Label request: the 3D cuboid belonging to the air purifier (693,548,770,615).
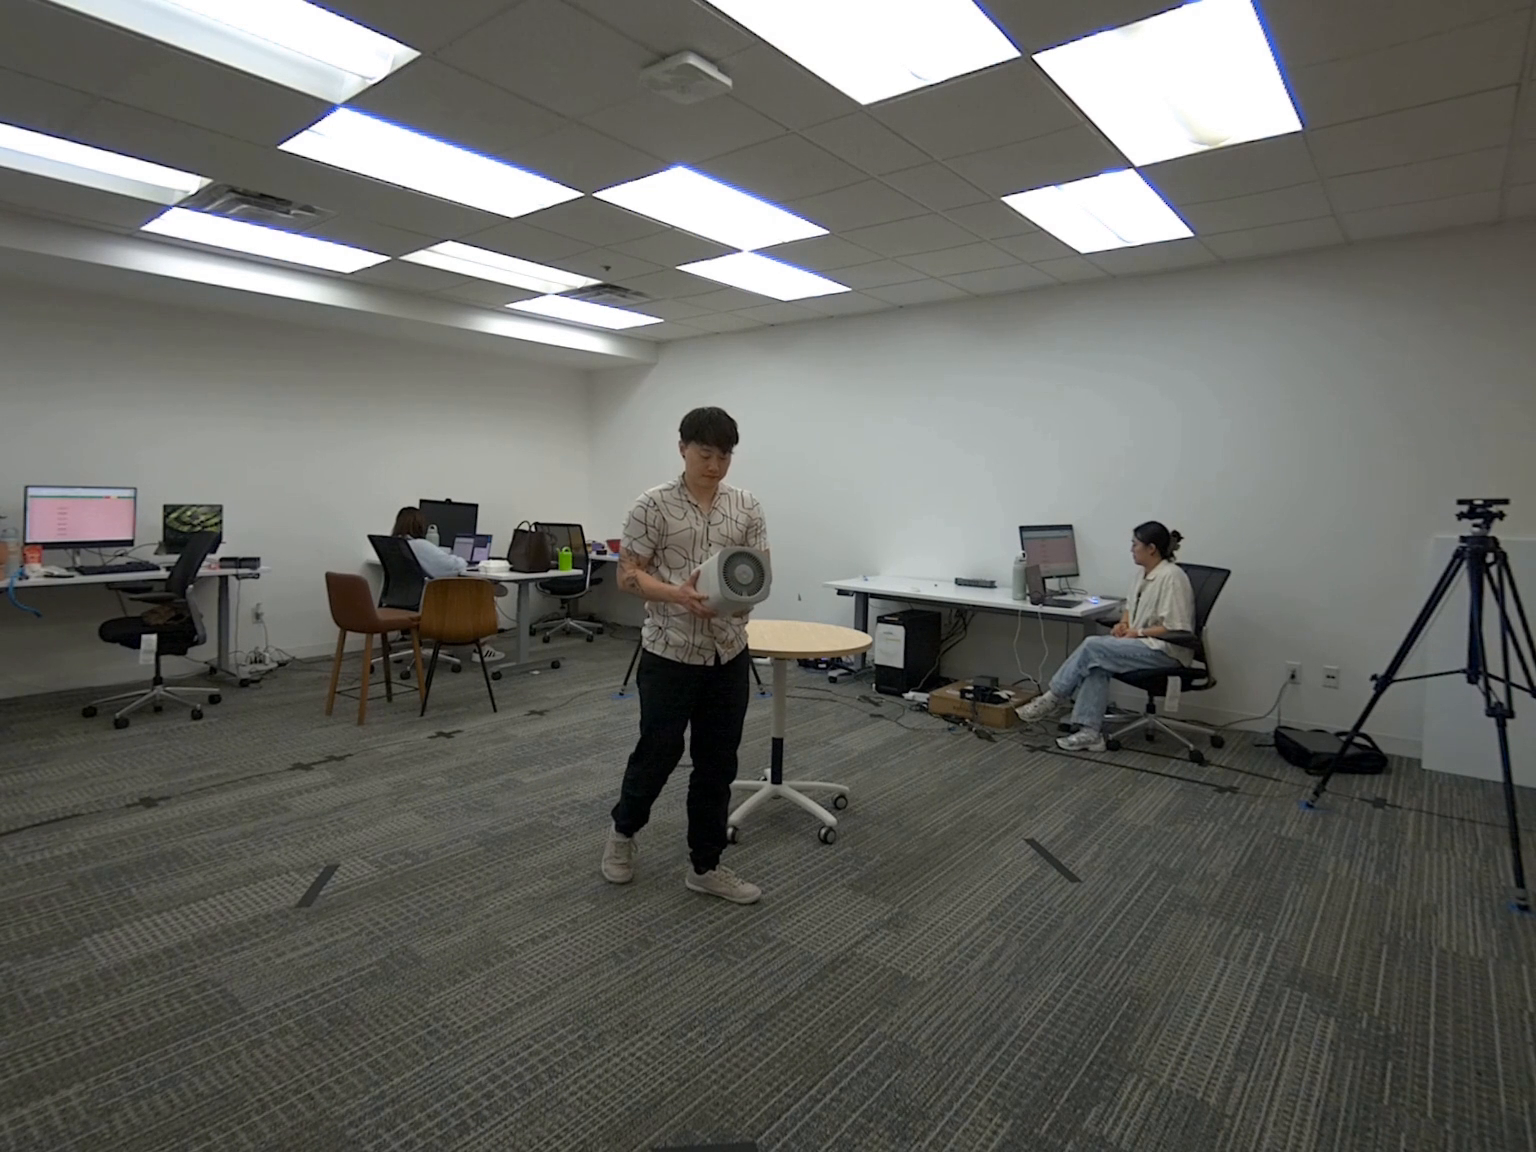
[{"bbox_3d":[-0.134,0.021,2.656,0.167,0.174,0.268,4,-16,-24],"label":"air purifier"}]
